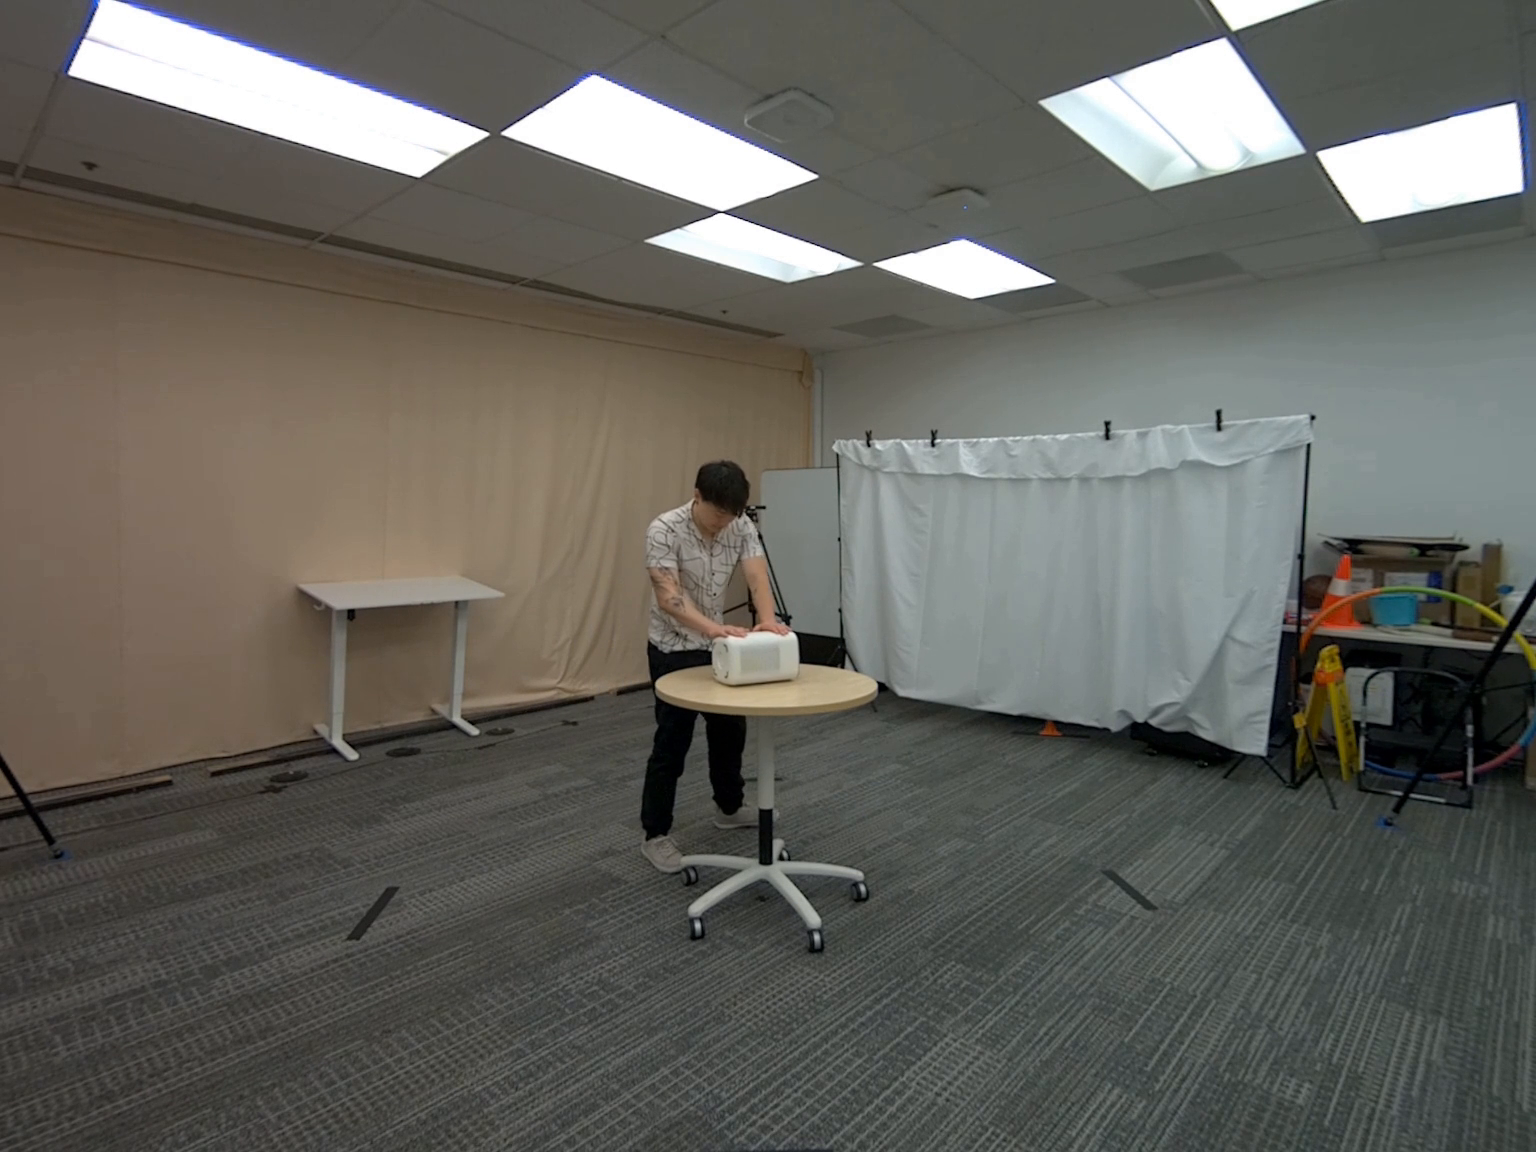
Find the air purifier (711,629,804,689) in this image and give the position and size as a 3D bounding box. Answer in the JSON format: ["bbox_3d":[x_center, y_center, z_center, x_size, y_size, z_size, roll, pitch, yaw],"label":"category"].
[{"bbox_3d":[-0.041,0.276,2.928,0.259,0.171,0.175,-2,1,-26],"label":"air purifier"}]
